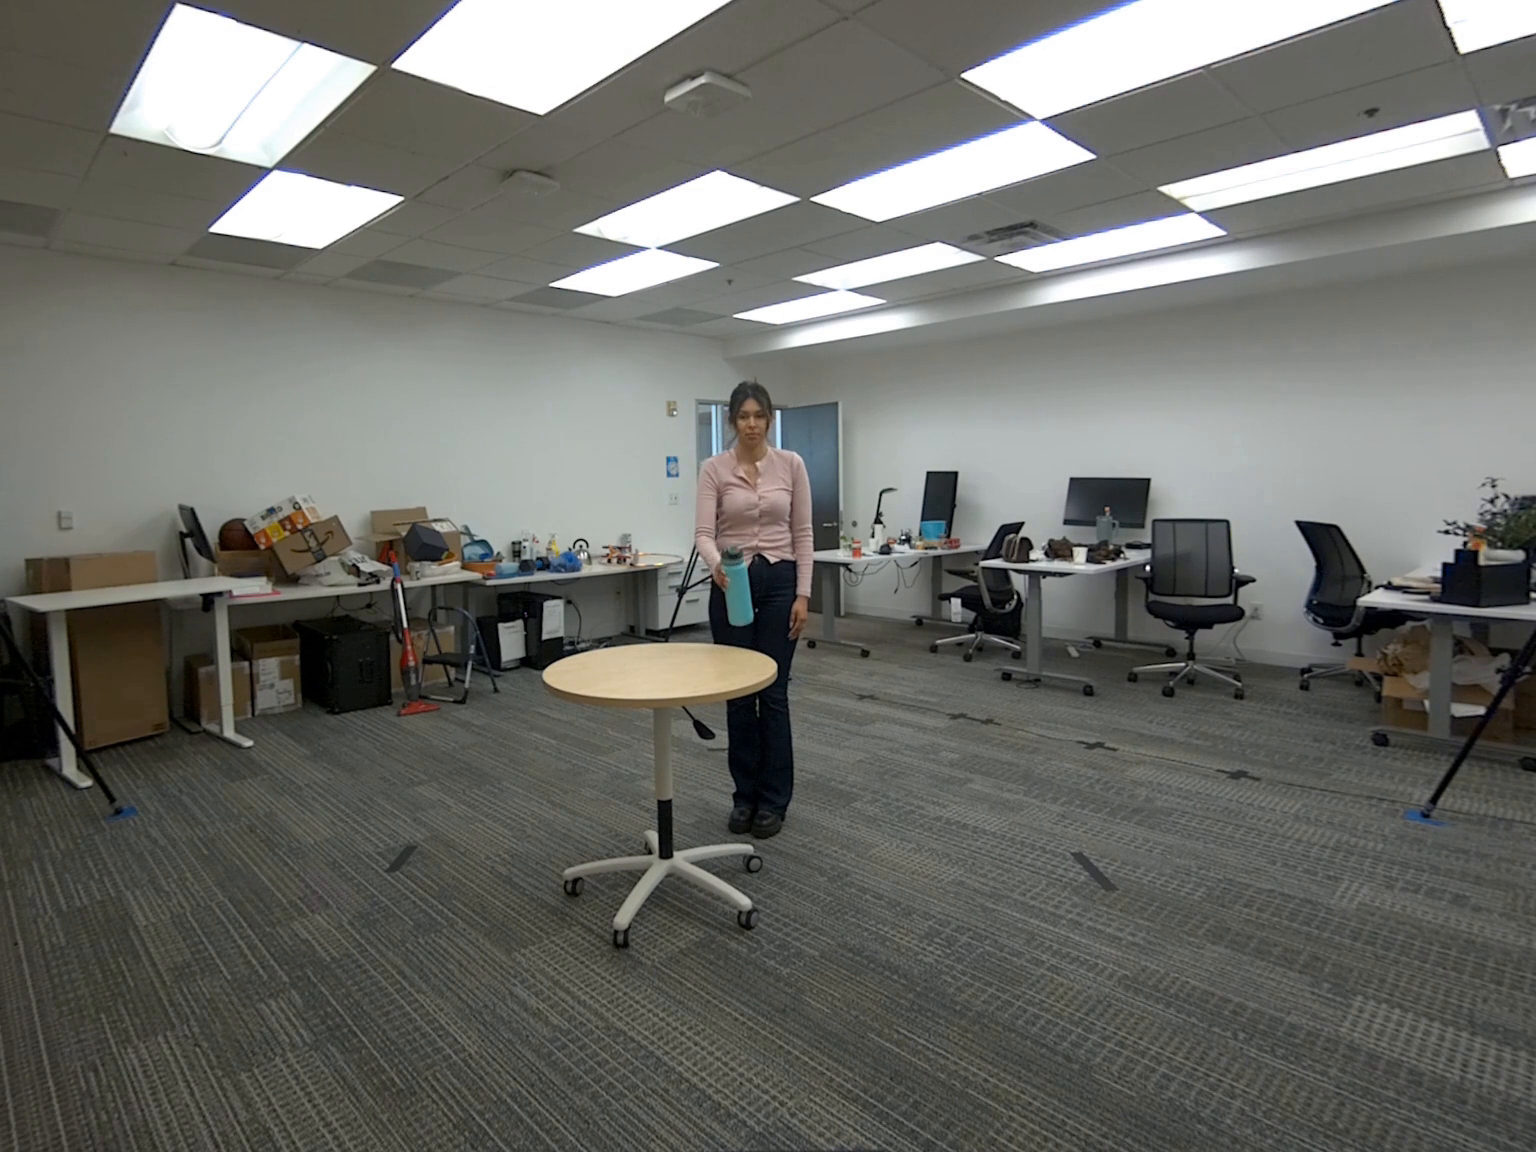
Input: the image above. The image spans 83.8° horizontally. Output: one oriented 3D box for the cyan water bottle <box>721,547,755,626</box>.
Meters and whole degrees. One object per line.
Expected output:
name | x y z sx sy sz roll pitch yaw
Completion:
cyan water bottle | -0.118 -0.007 2.997 0.092 0.278 0.094 -6 17 0
